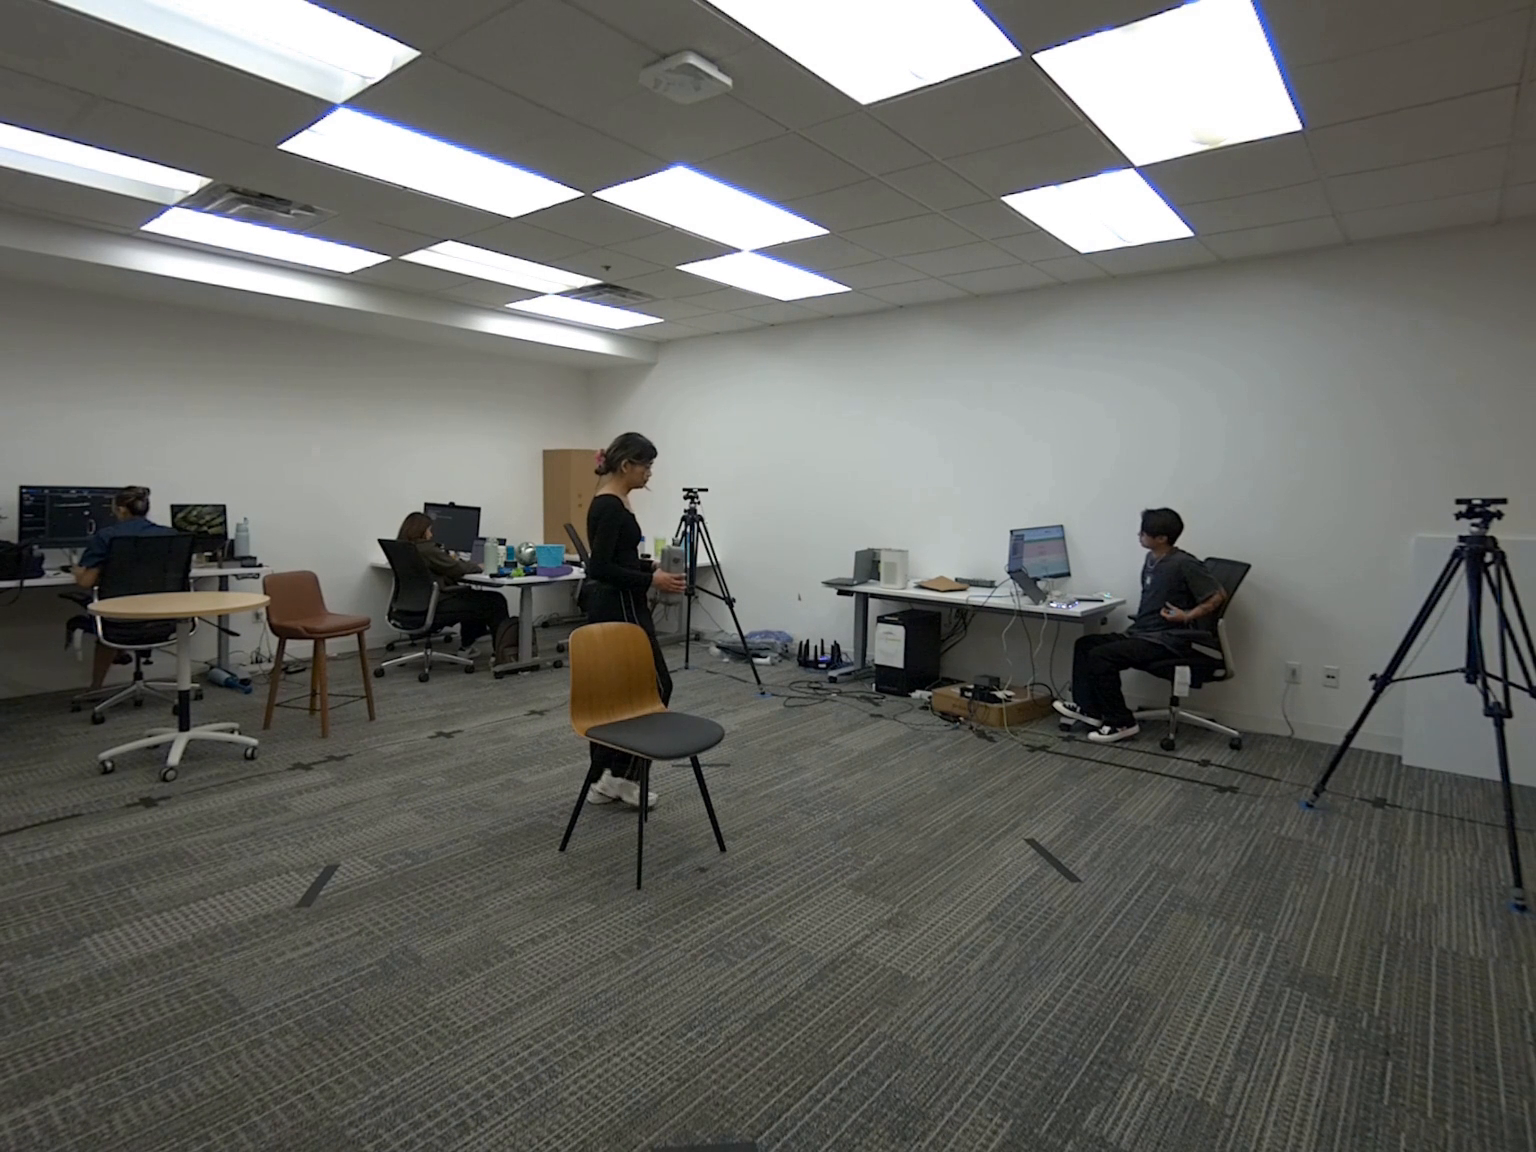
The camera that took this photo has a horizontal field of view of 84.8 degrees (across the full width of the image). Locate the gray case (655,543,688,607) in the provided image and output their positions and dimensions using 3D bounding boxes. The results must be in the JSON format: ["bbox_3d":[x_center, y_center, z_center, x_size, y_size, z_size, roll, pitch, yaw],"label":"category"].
[{"bbox_3d":[-0.435,-0.012,3.751,0.103,0.261,0.259,6,1,-8],"label":"gray case"}]
